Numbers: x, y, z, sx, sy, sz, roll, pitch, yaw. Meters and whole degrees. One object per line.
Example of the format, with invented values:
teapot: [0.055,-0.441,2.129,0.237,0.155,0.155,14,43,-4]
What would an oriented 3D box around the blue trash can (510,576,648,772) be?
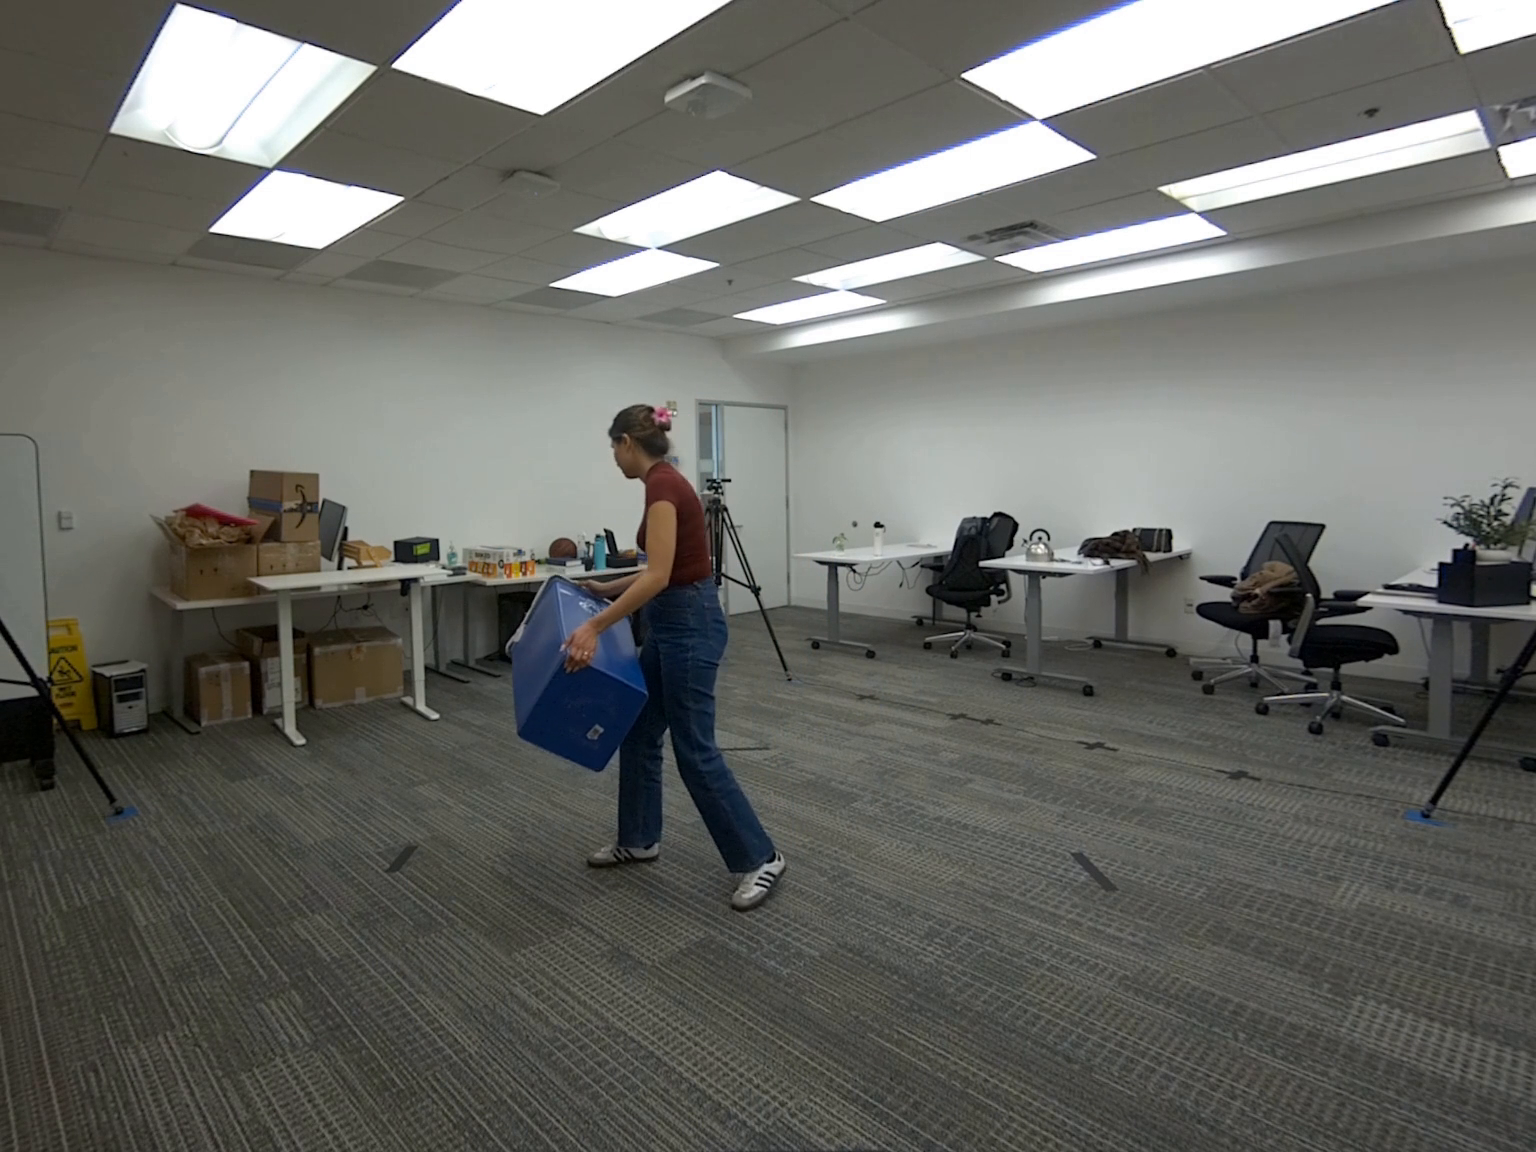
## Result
blue trash can: [-0.655,0.326,2.953,0.364,0.377,0.733,30,7,-23]
